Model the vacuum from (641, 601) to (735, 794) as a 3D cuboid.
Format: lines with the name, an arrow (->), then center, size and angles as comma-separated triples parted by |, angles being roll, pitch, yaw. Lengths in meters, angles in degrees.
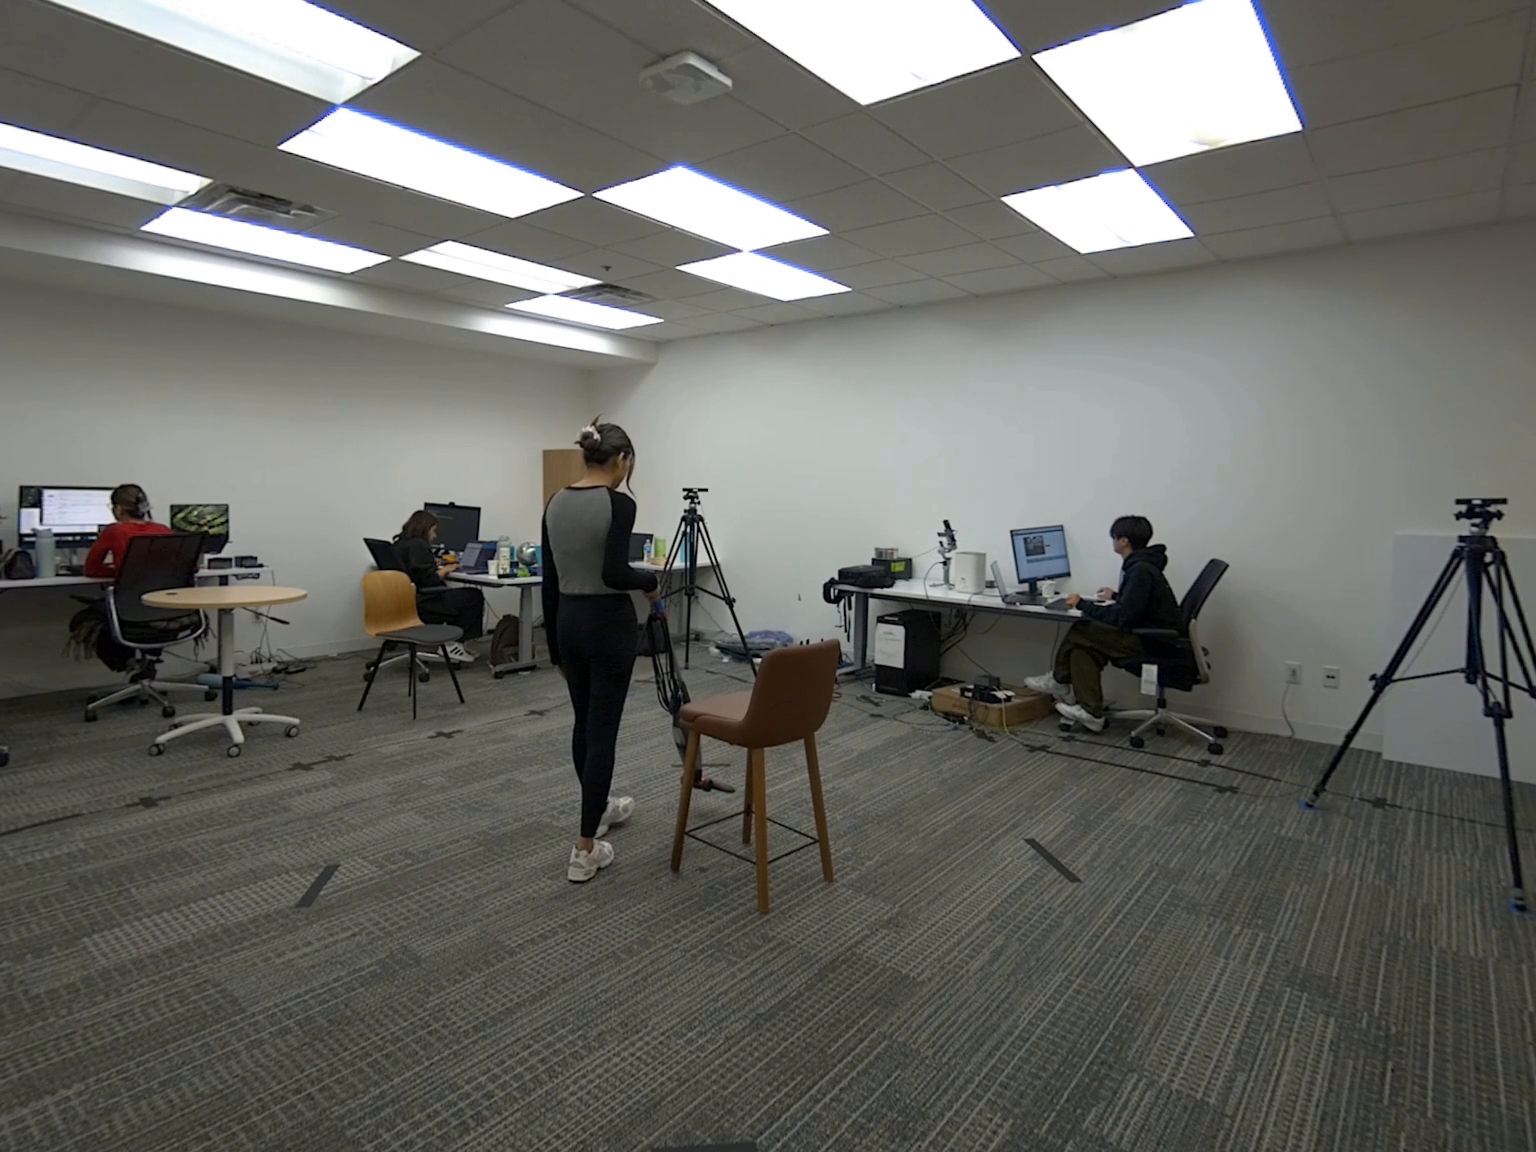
vacuum -> -0.386, 0.460, 3.425 | 0.259, 1.021, 0.144 | 3, 30, 27
